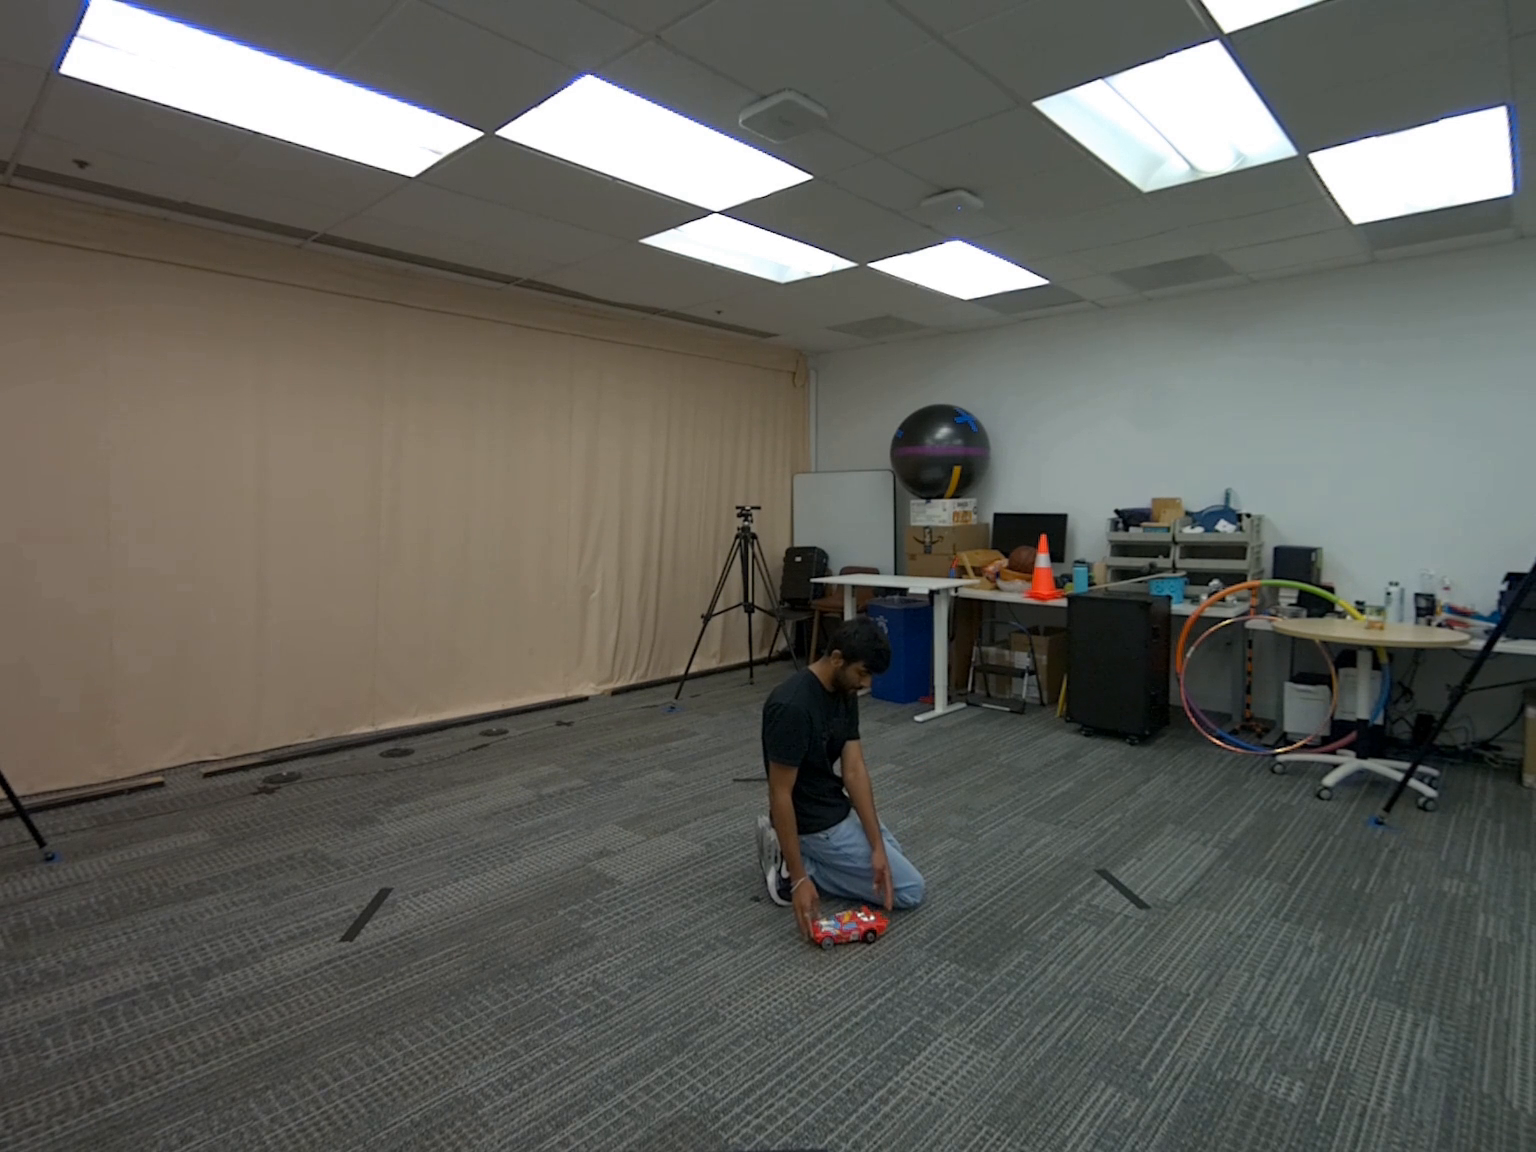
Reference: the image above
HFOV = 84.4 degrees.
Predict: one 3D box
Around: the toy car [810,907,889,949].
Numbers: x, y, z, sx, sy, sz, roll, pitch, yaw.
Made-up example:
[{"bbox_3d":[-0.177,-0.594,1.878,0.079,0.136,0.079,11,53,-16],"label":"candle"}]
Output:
[{"bbox_3d":[0.267,1.126,2.716,0.252,0.083,0.132,-14,8,-13],"label":"toy car"}]
